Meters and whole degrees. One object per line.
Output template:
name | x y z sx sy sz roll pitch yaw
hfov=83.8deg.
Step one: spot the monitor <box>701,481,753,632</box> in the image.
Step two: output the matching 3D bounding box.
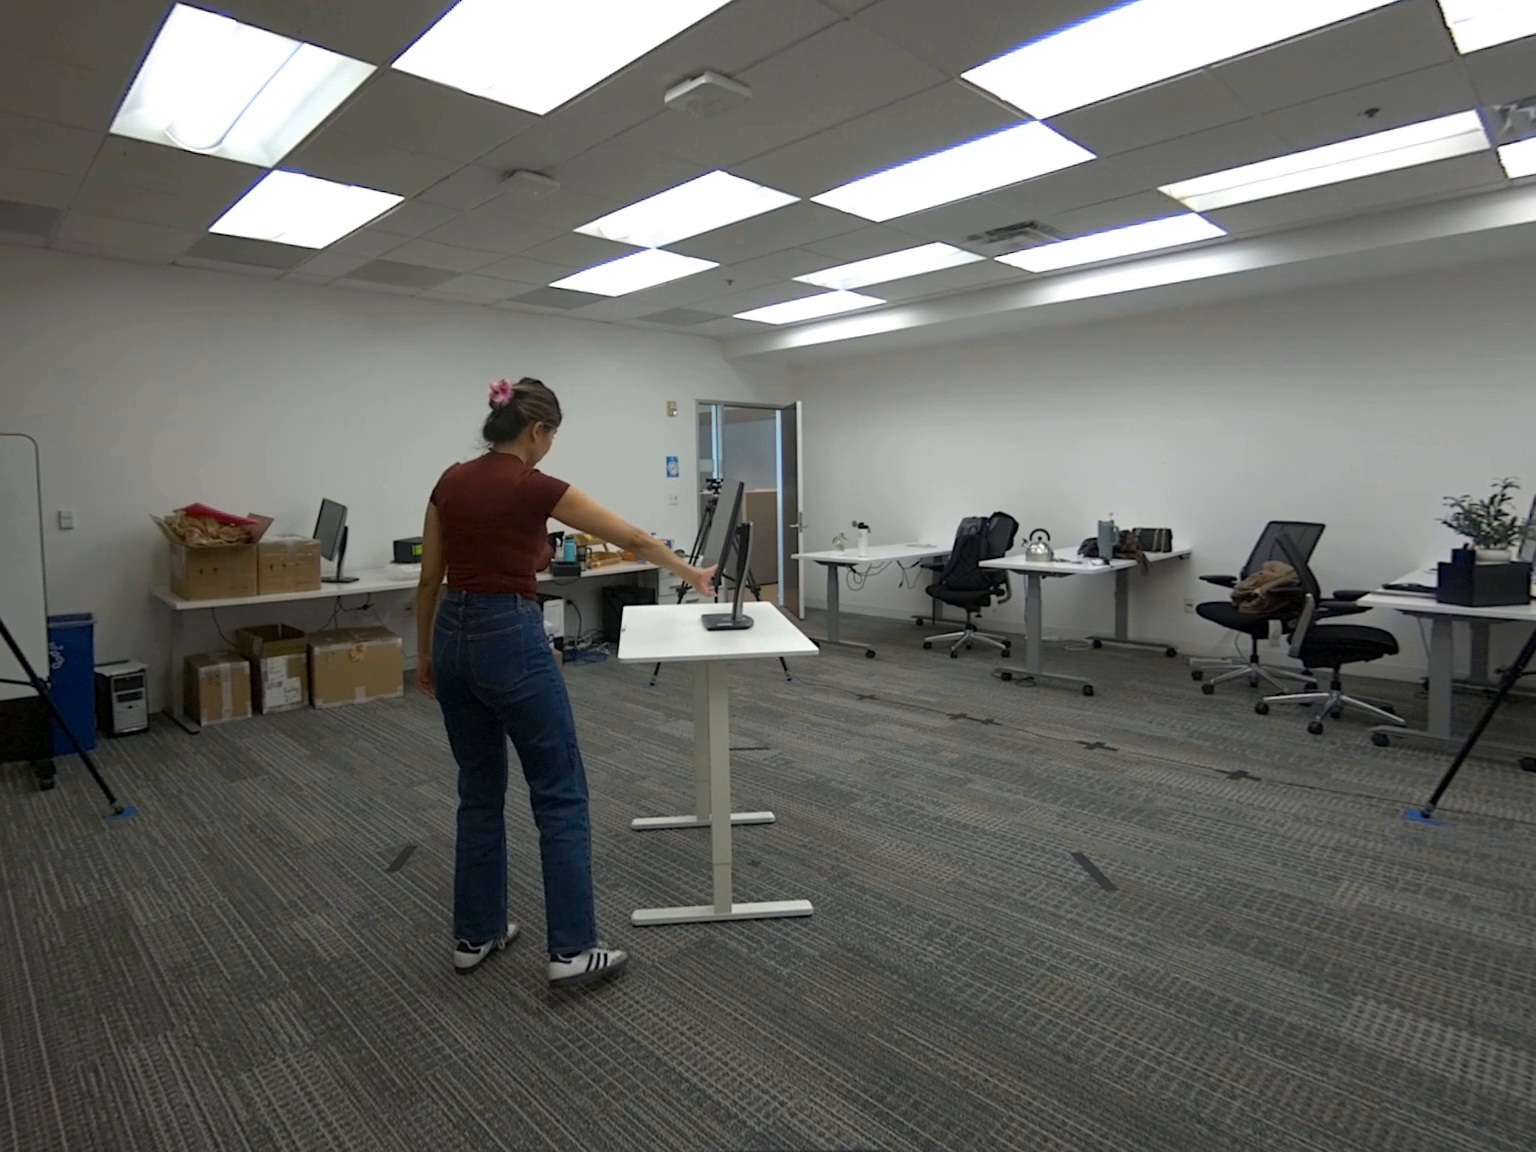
monitor | -0.136 -0.083 3.046 0.185 0.520 0.546 0 5 -11
